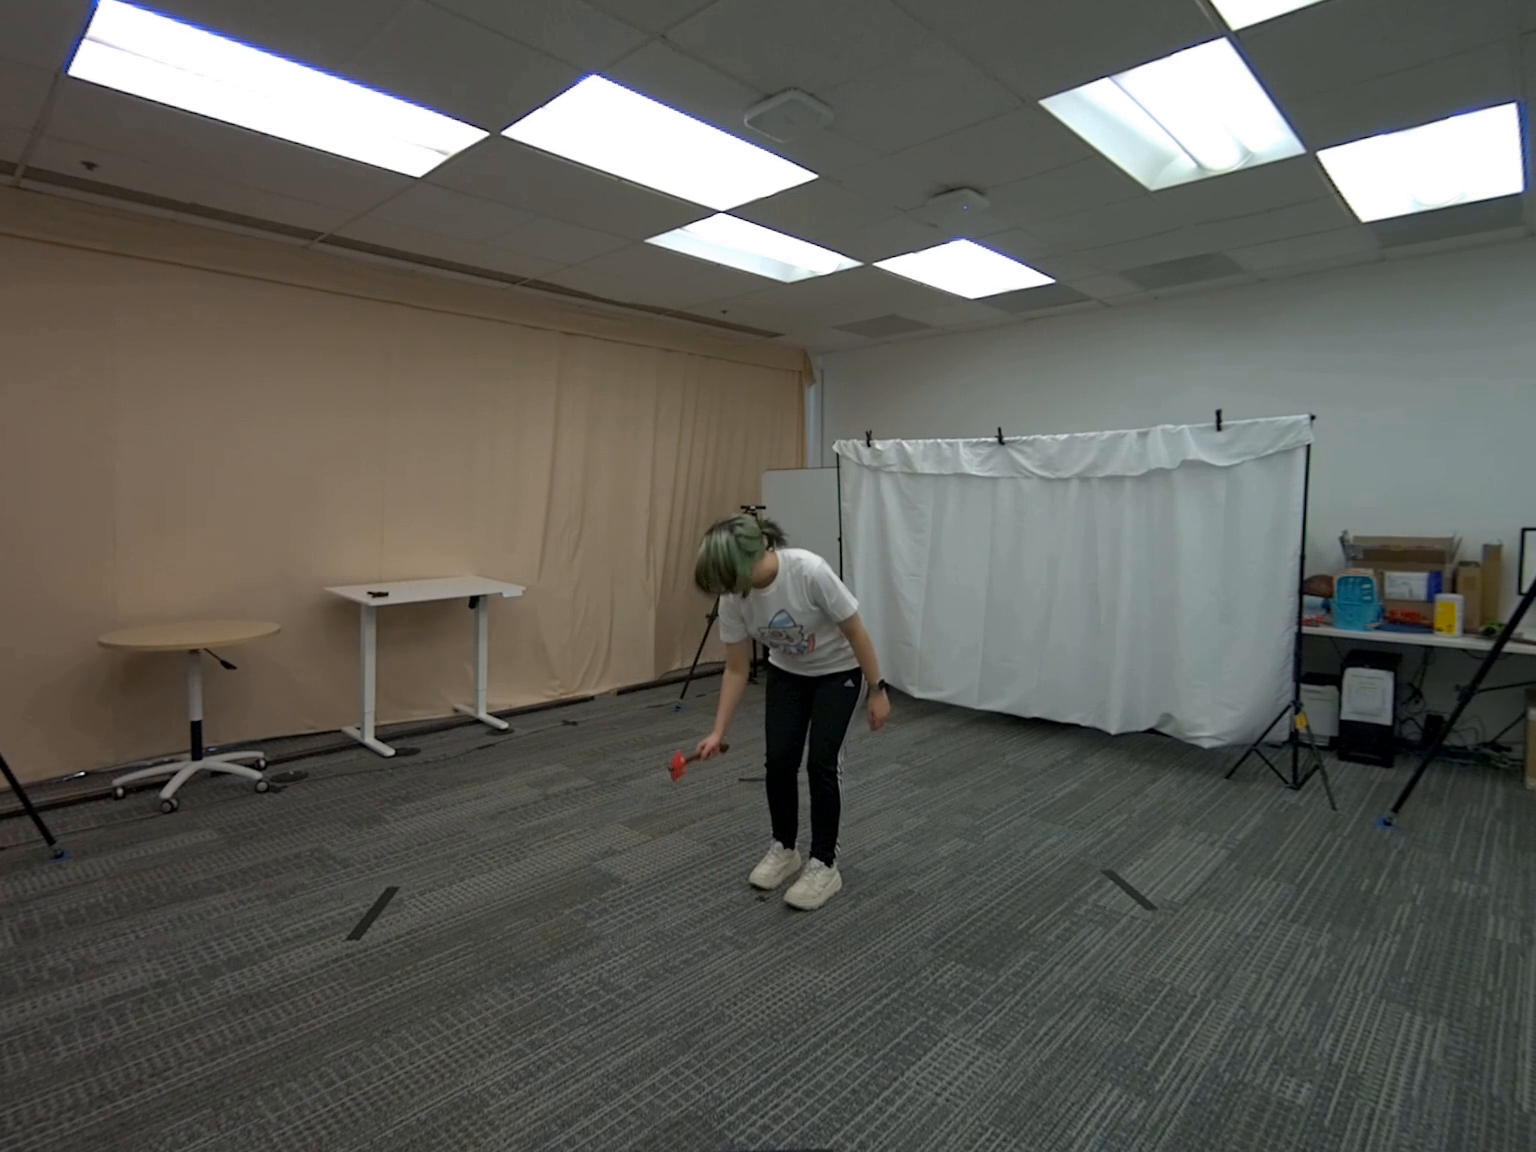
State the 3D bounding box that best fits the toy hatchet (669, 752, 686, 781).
[{"bbox_3d":[-0.245,0.650,2.908,0.260,0.131,0.030,16,21,-46],"label":"toy hatchet"}]
